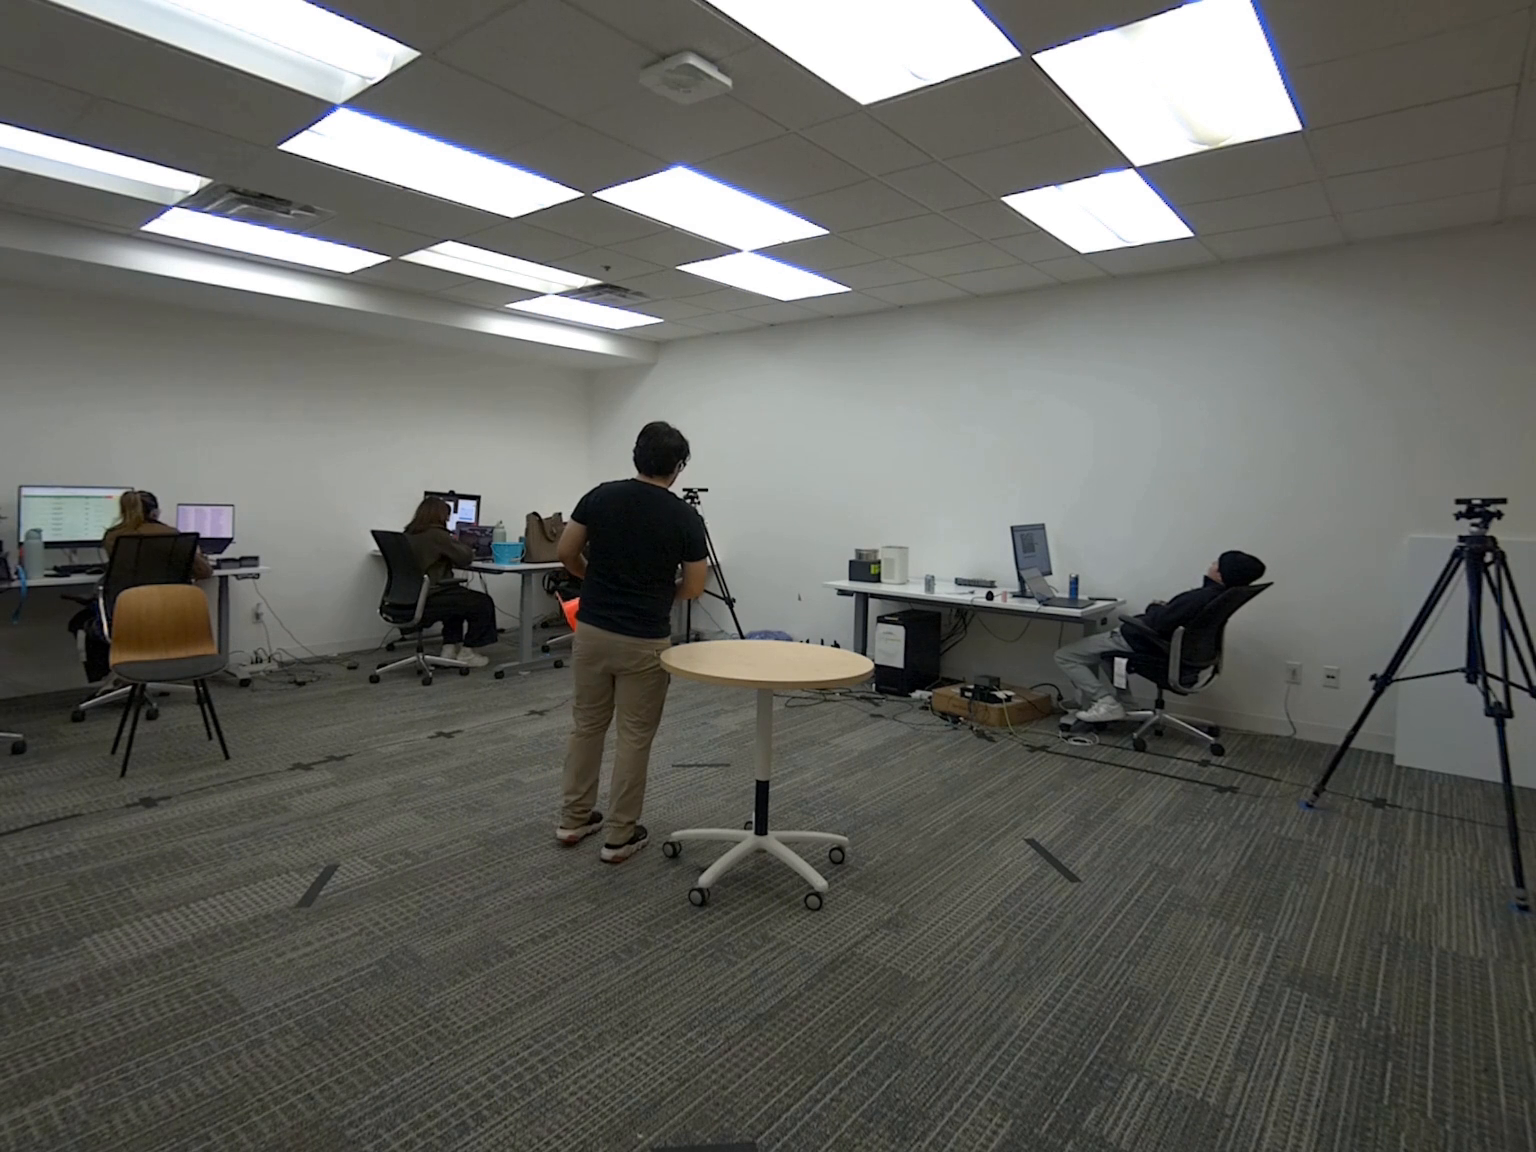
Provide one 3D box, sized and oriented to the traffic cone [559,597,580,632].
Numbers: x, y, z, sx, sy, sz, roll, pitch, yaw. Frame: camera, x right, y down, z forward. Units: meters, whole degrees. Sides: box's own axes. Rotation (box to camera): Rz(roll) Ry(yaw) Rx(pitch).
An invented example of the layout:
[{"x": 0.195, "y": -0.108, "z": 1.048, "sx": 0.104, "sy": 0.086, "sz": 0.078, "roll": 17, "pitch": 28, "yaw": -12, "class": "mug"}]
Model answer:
[{"x": -0.656, "y": 0.092, "z": 3.501, "sx": 0.382, "sy": 0.197, "sz": 0.212, "roll": -28, "pitch": 46, "yaw": -5, "class": "traffic cone"}]
